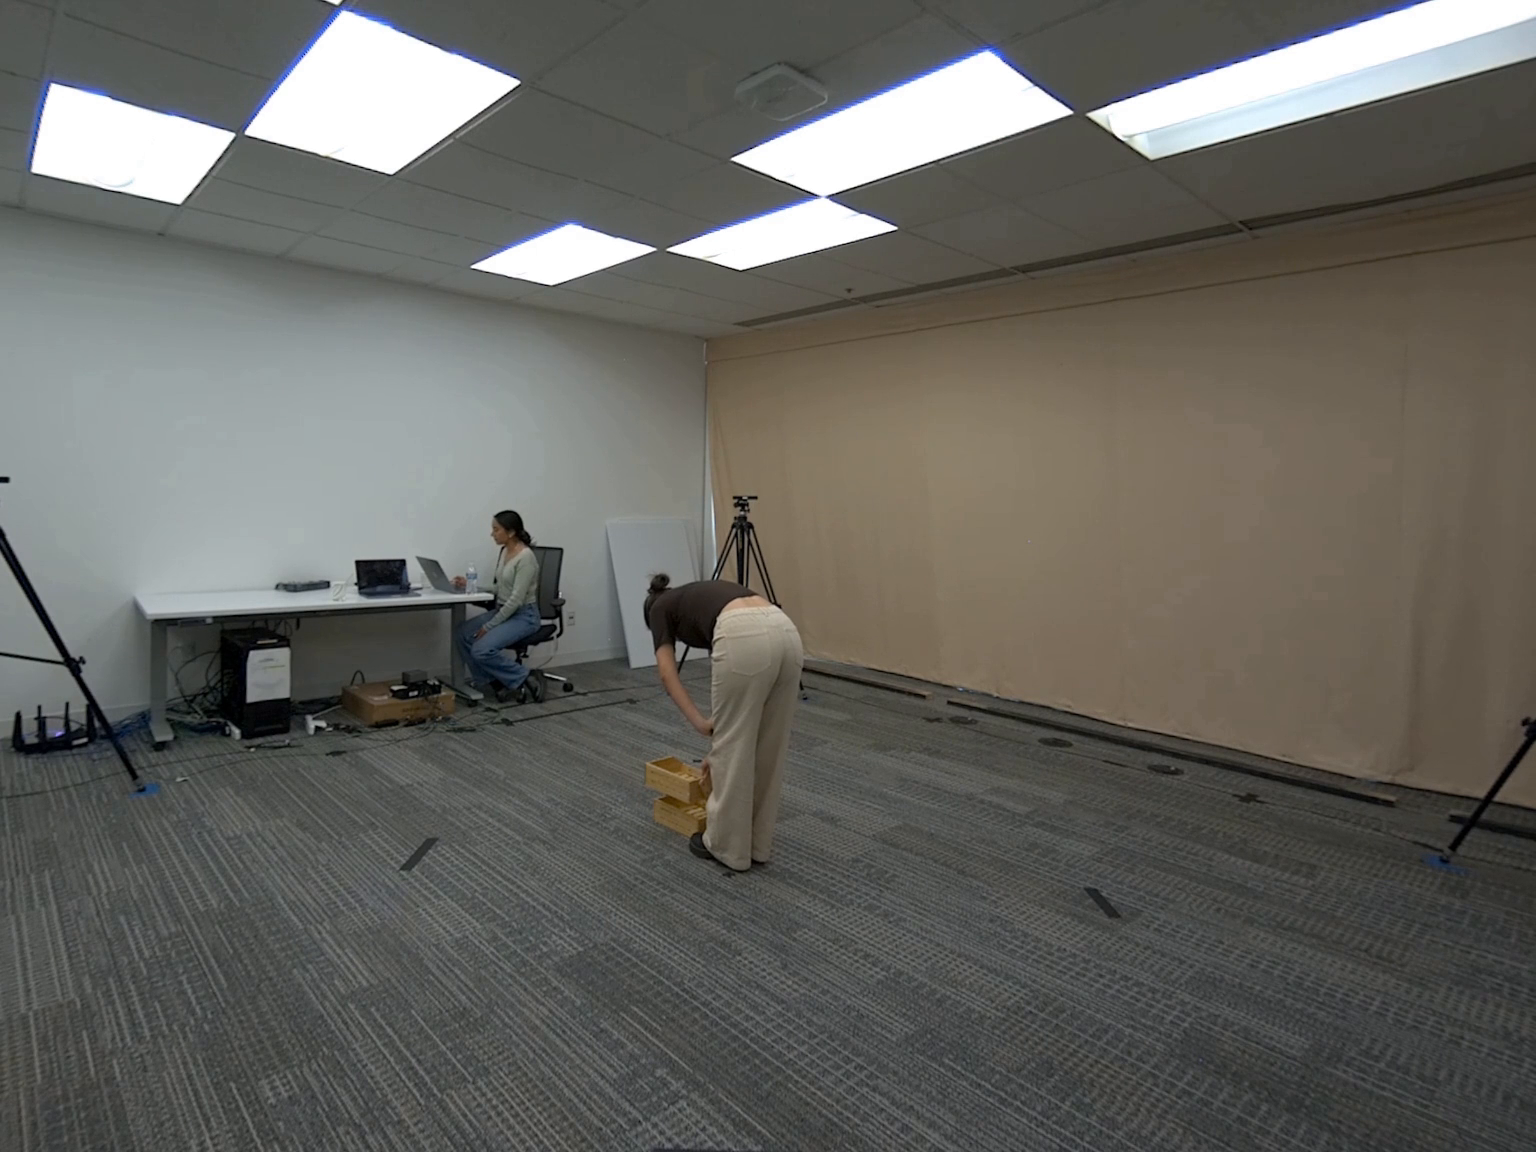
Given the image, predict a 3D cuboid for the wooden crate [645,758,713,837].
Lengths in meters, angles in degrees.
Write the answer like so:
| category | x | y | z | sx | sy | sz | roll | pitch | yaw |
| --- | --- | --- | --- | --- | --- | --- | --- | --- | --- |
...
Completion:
| category | x | y | z | sx | sy | sz | roll | pitch | yaw |
| --- | --- | --- | --- | --- | --- | --- | --- | --- | --- |
| wooden crate | -0.319 | 0.921 | 3.564 | 0.295 | 0.272 | 0.333 | -4 | 7 | -44 |
